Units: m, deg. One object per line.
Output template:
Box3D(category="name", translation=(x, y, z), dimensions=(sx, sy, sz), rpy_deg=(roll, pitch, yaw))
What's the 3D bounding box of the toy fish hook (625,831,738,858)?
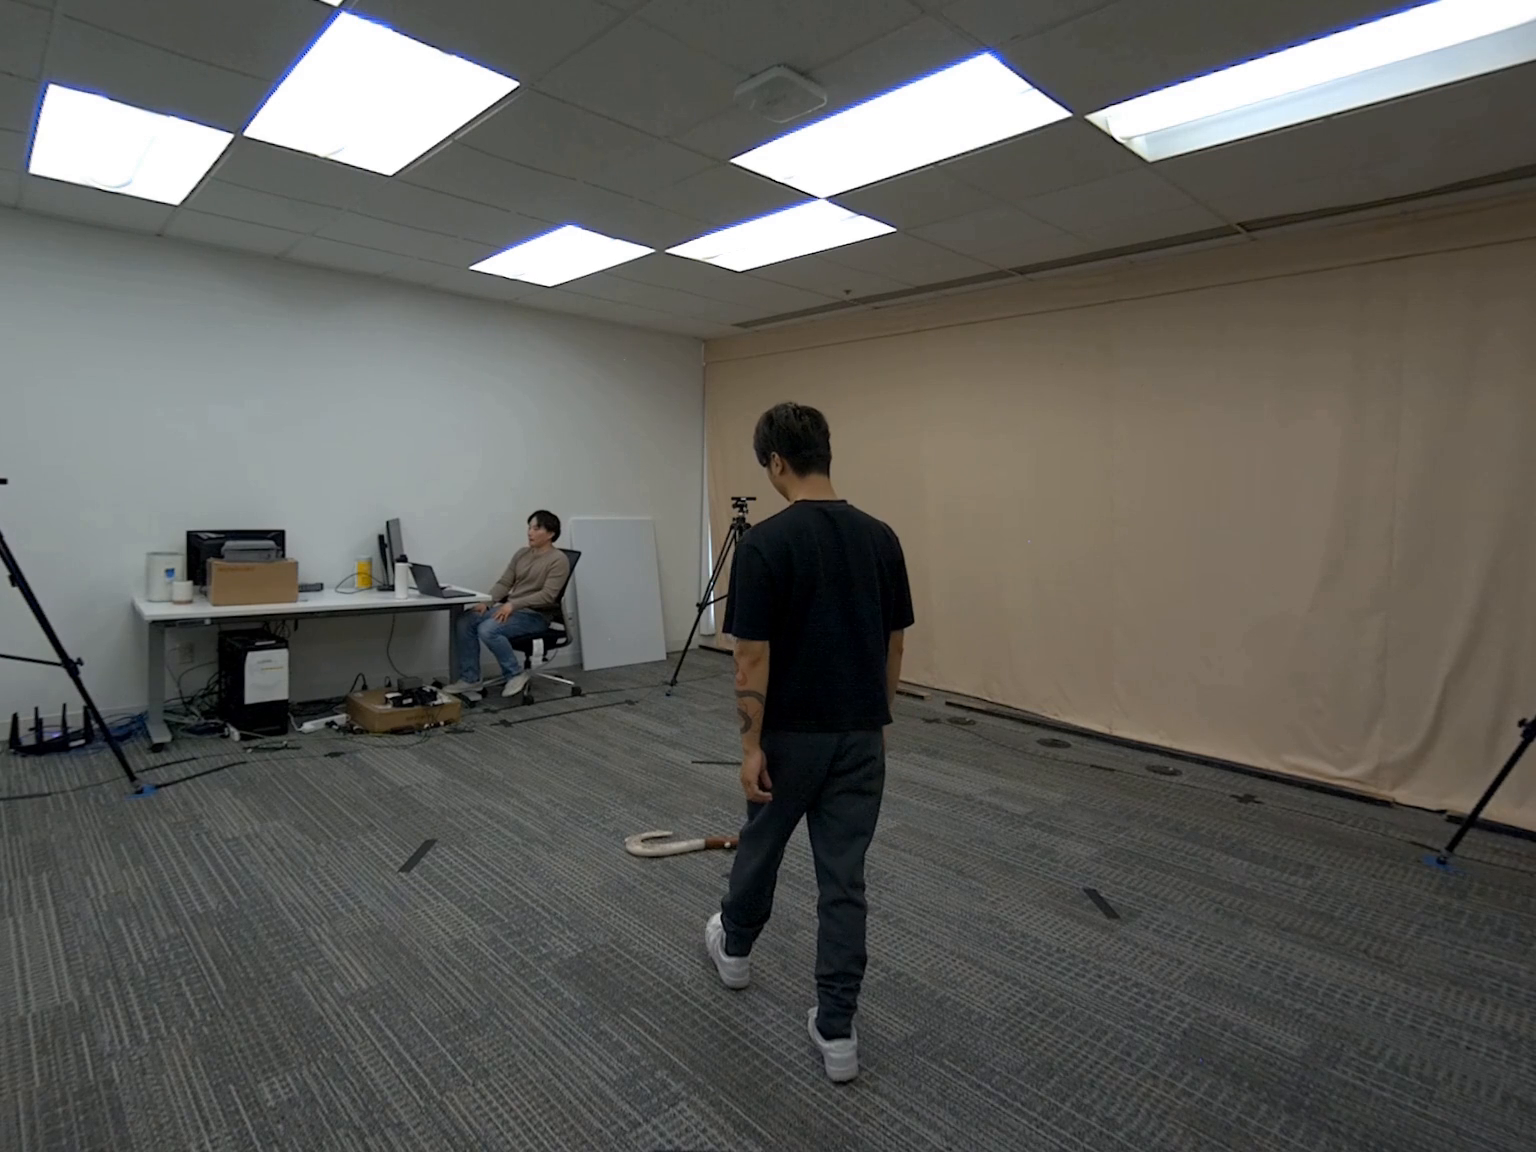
Box3D(category="toy fish hook", translation=(-0.321, 1.054, 3.370), dimensions=(0.502, 0.048, 0.227), rpy_deg=(1, 7, -11))
